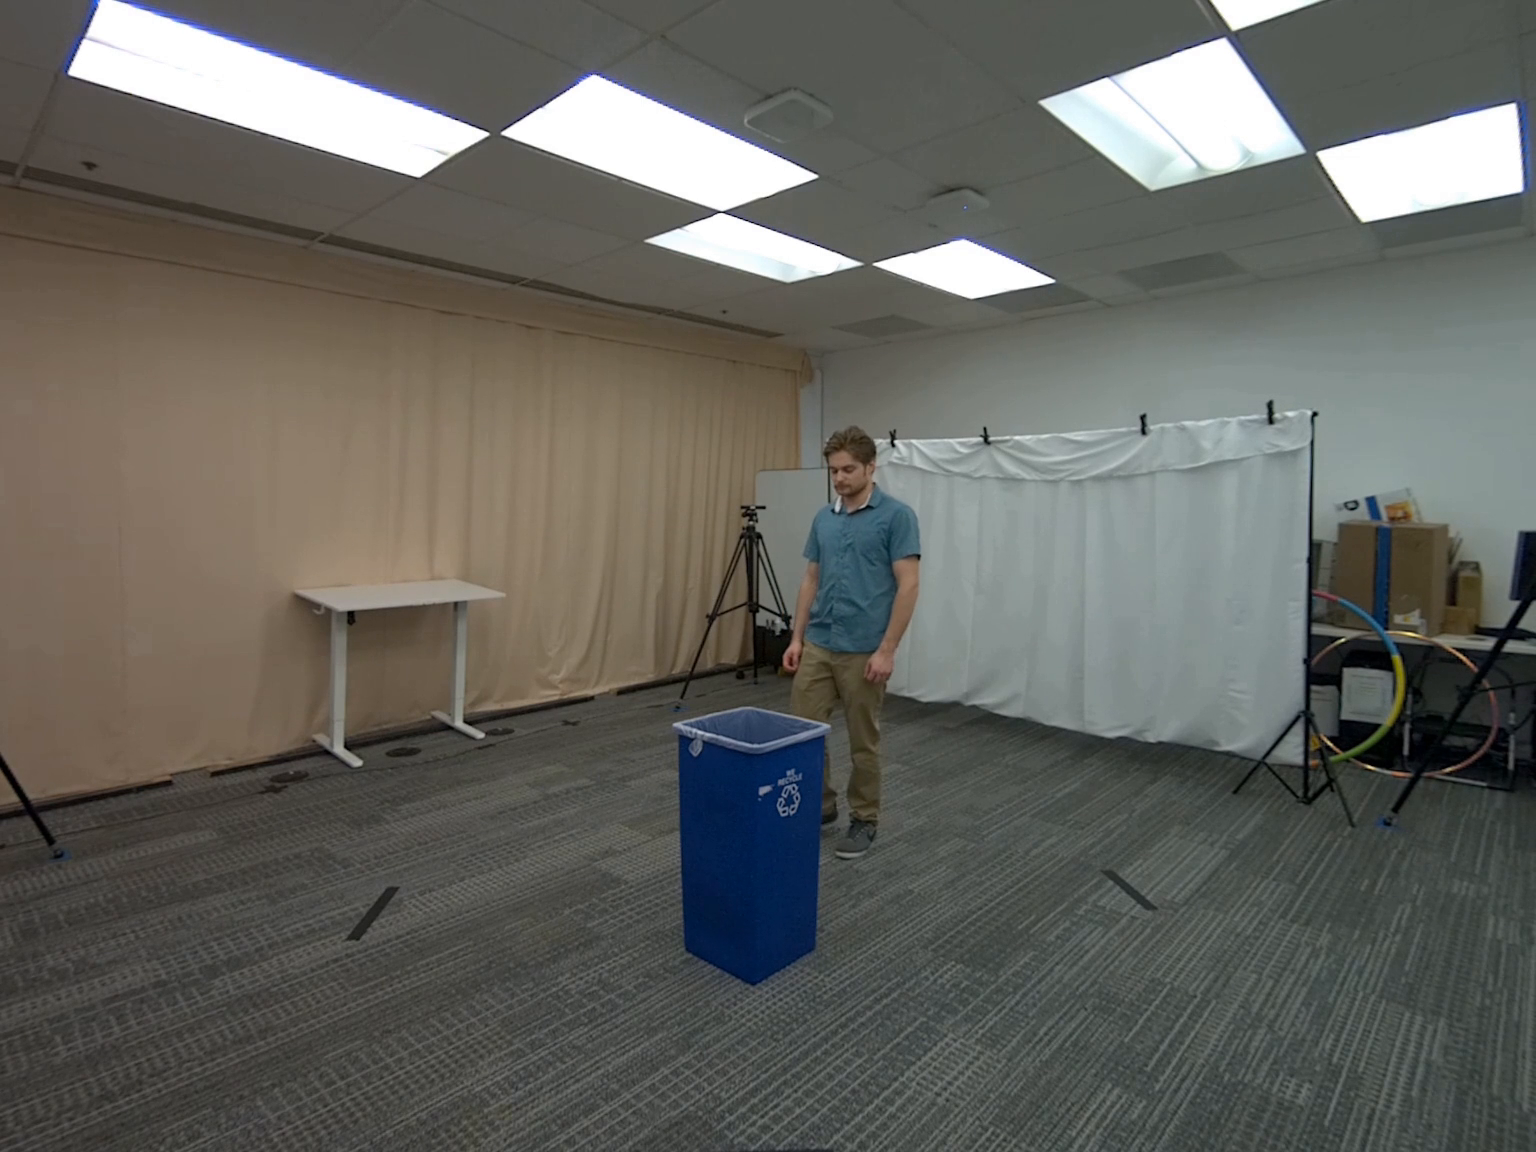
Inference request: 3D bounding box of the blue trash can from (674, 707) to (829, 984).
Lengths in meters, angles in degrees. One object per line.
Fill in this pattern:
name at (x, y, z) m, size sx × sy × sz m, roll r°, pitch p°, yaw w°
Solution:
blue trash can at (-0.059, 0.818, 2.629) m, size 0.387 × 0.712 × 0.366 m, roll 5°, pitch 5°, yaw 41°
